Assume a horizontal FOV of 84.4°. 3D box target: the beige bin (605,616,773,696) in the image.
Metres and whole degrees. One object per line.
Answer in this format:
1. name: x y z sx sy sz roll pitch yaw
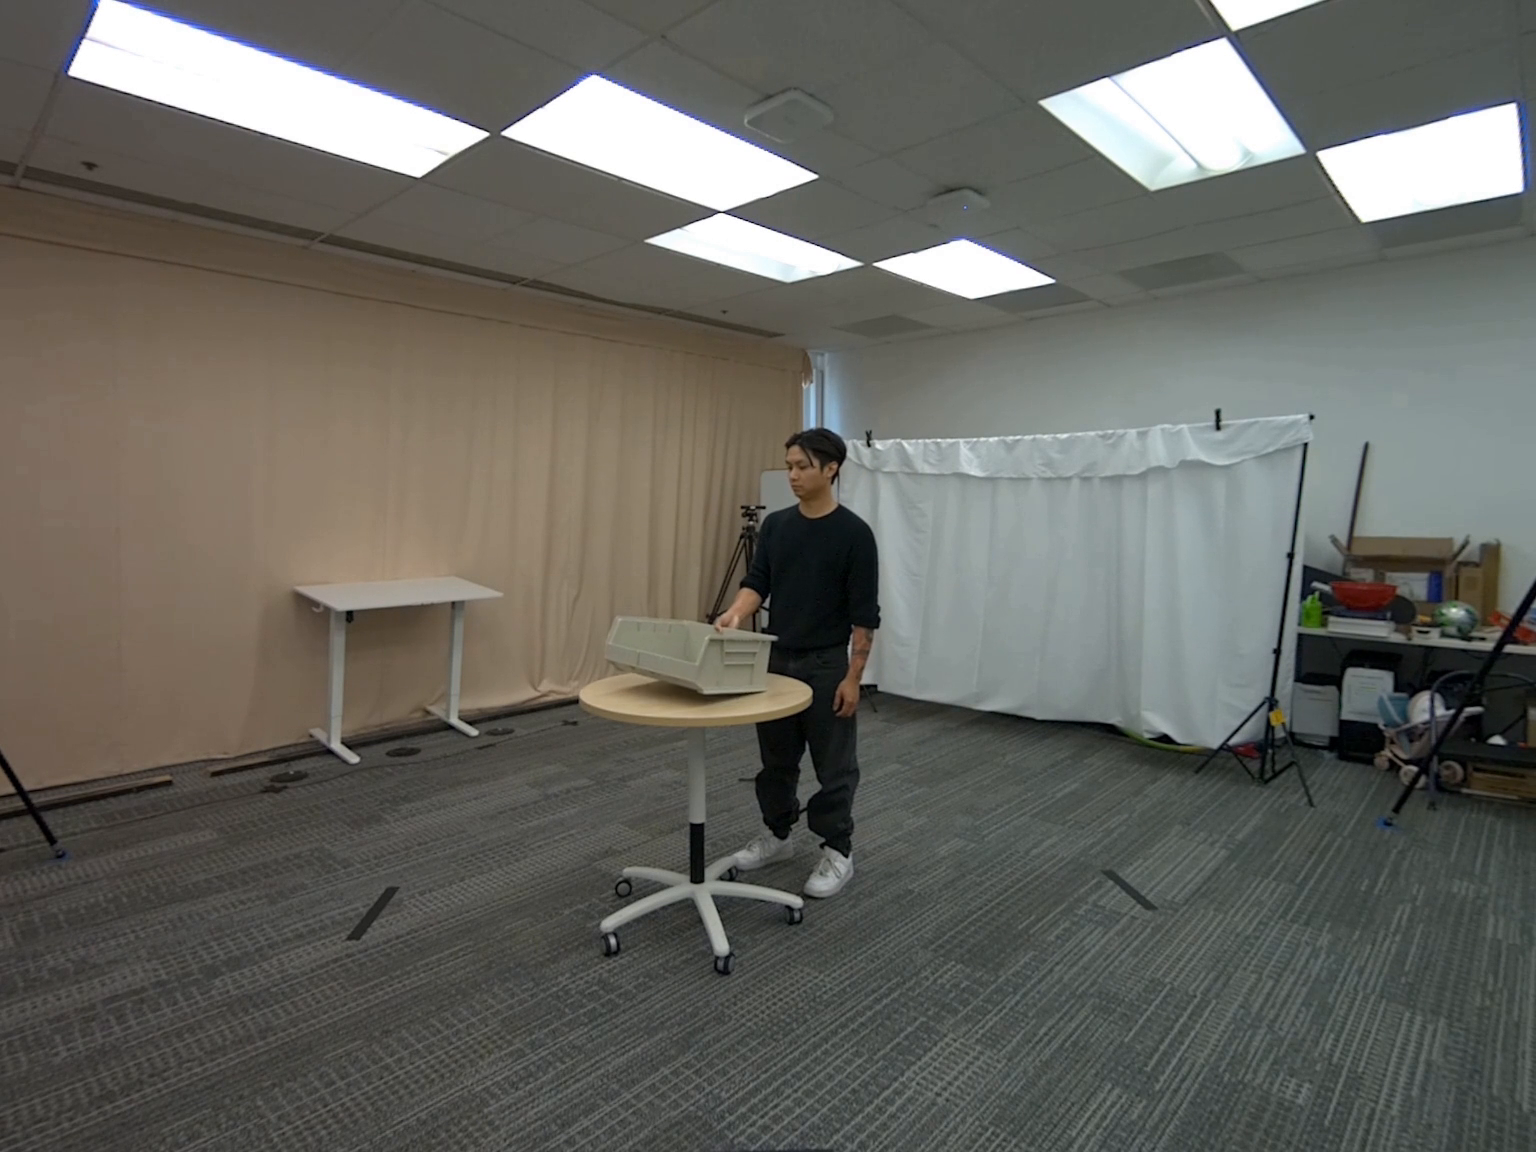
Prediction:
1. beige bin: -0.255 0.253 2.763 0.436 0.189 0.364 6 -2 39
